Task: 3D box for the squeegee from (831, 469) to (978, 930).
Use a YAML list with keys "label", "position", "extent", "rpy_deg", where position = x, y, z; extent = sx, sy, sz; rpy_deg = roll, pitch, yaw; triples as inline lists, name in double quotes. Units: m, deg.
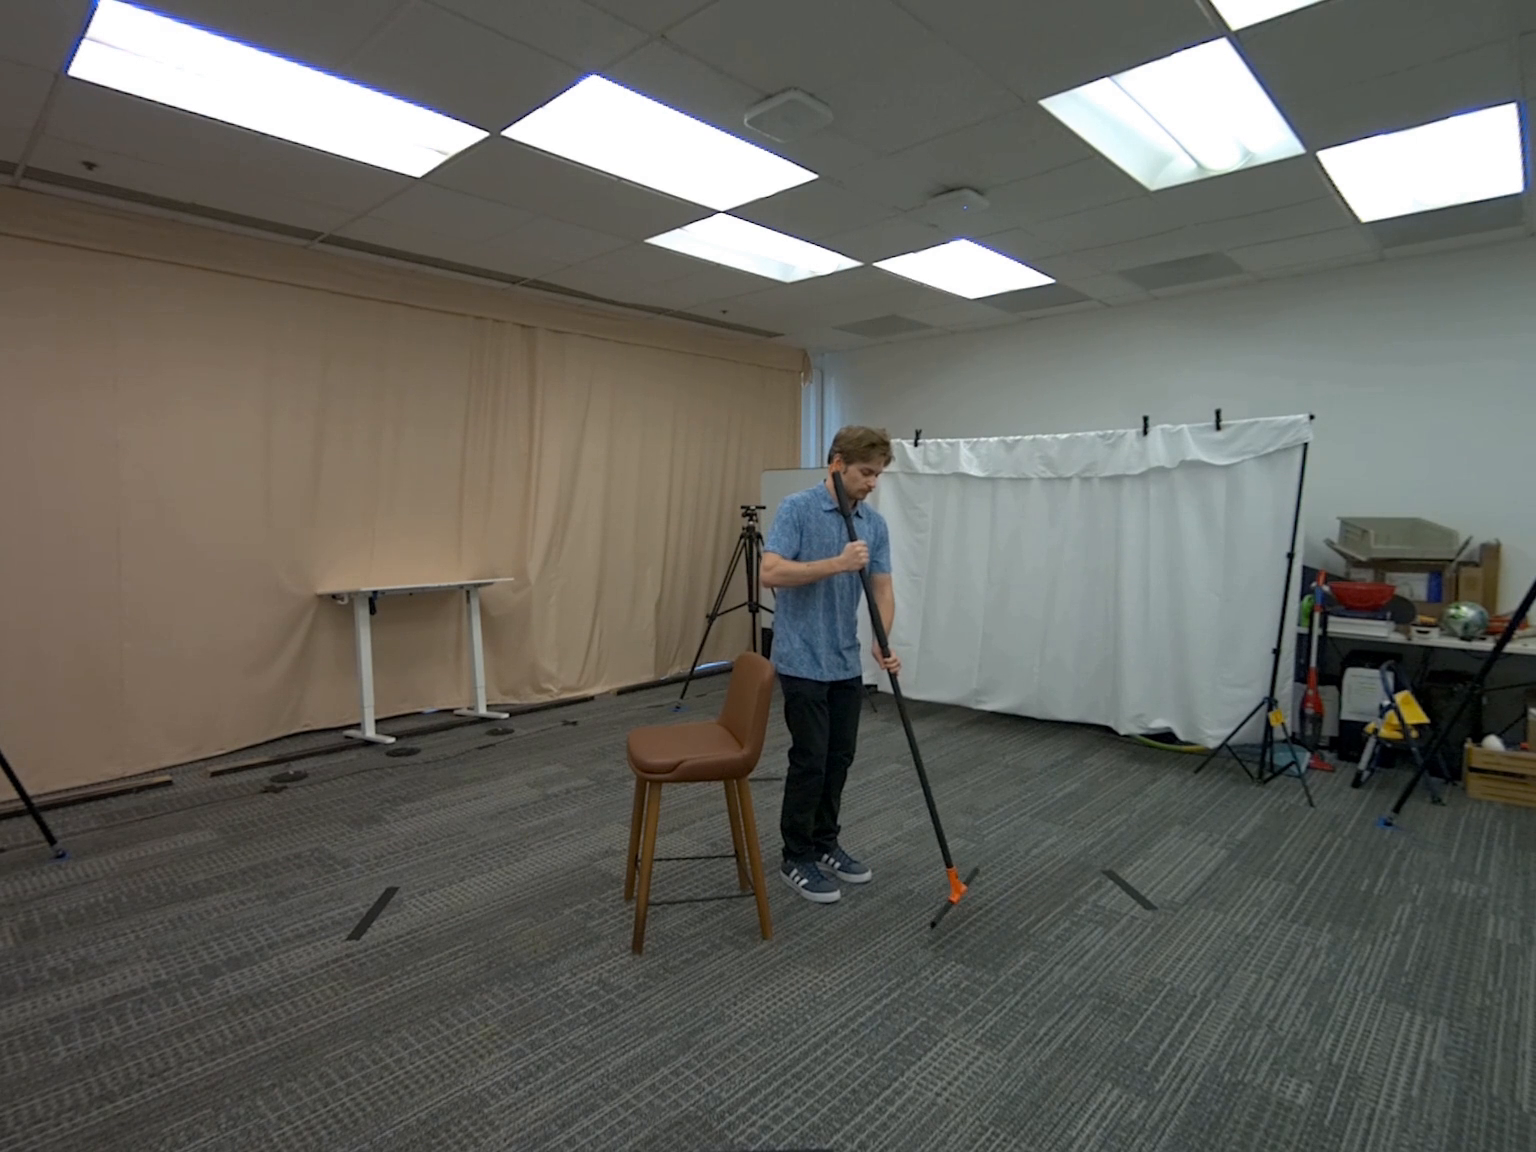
- label: "squeegee"
  position: [0.475, 0.364, 2.876]
  extent: [0.054, 1.543, 0.425]
  rpy_deg: [-16, -5, 36]
